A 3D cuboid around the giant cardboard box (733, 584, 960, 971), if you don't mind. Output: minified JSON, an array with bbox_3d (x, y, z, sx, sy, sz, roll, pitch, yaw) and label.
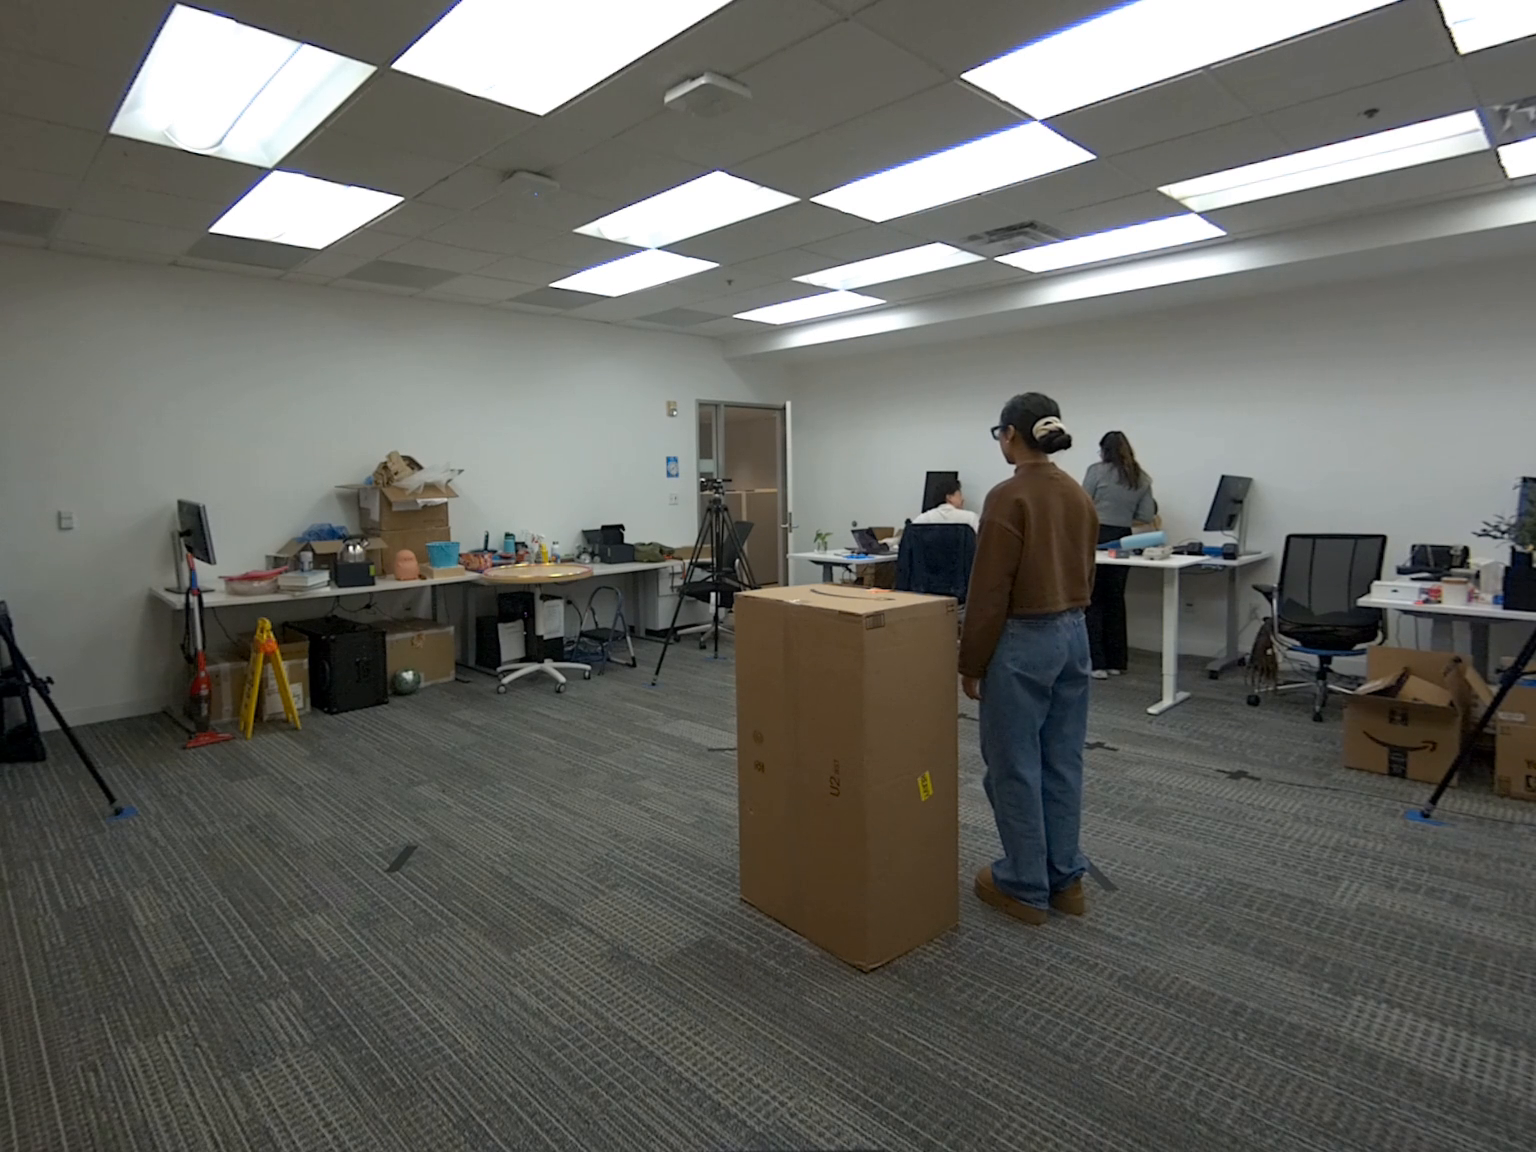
[{"bbox_3d":[0.248,0.576,2.722,0.415,1.023,0.595,-4,5,-40],"label":"giant cardboard box"}]
